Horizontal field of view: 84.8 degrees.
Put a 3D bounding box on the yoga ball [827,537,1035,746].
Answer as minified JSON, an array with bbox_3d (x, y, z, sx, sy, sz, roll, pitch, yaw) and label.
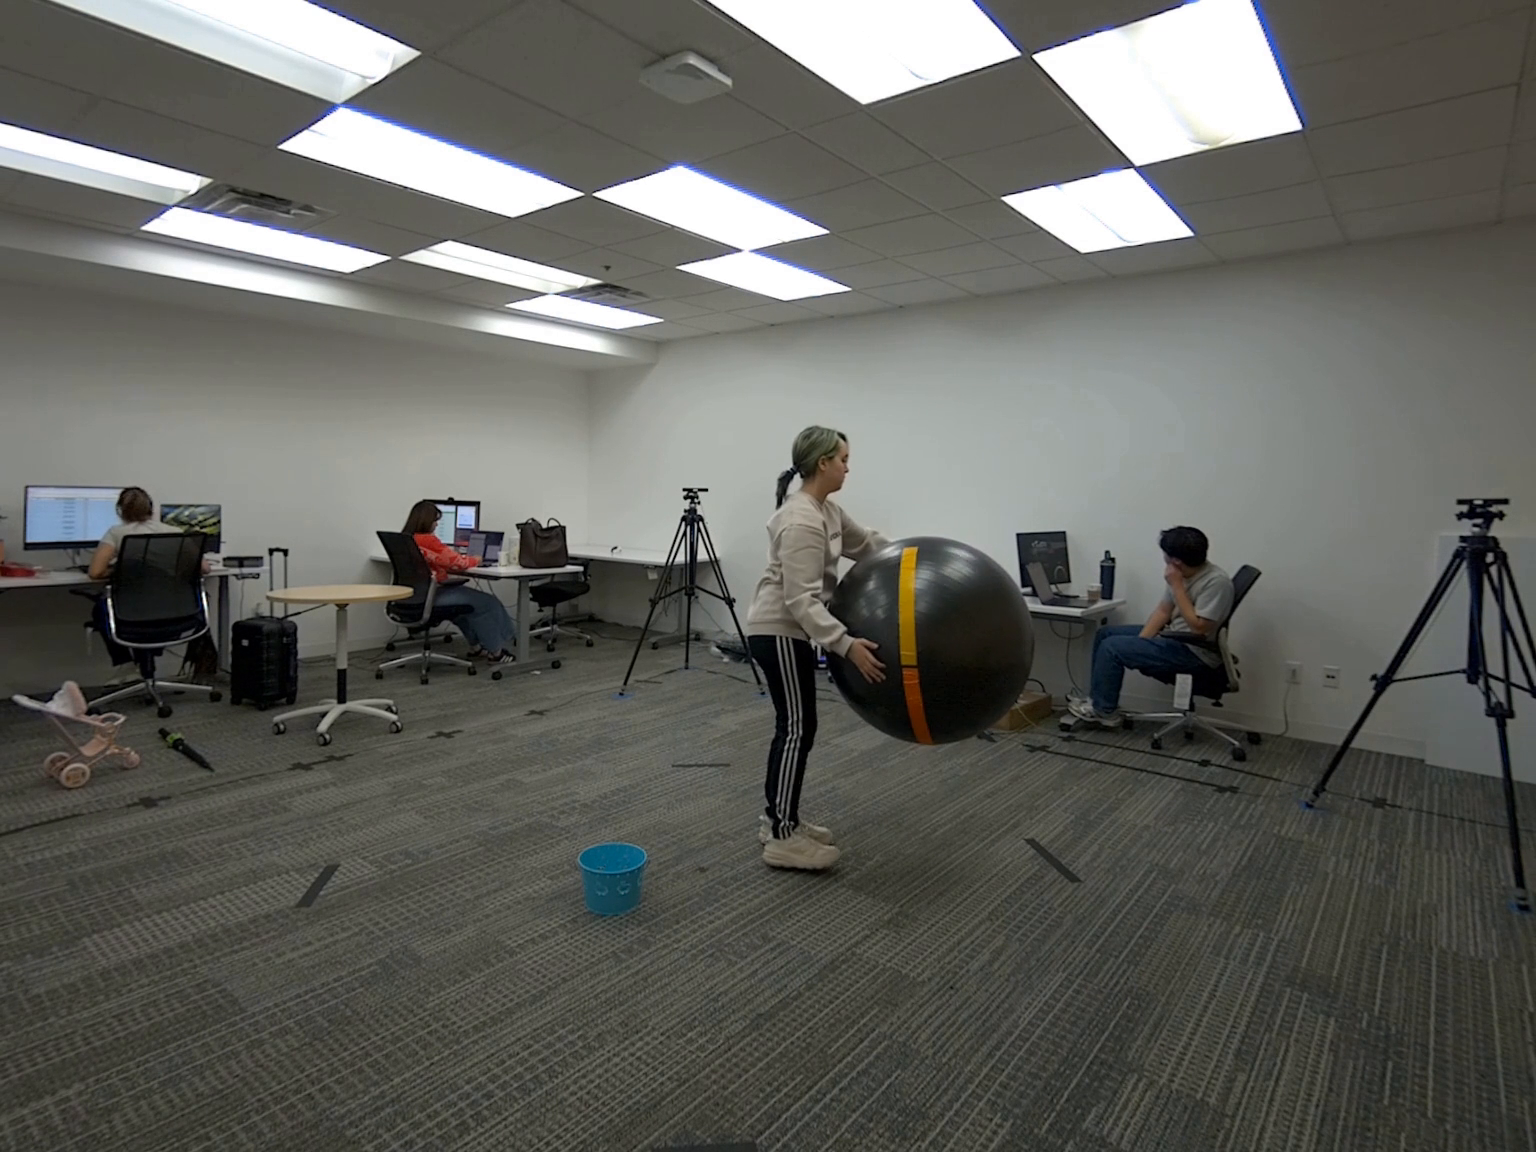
[{"bbox_3d":[0.582,0.233,3.160,0.757,0.756,0.761,1,4,-2],"label":"yoga ball"}]
